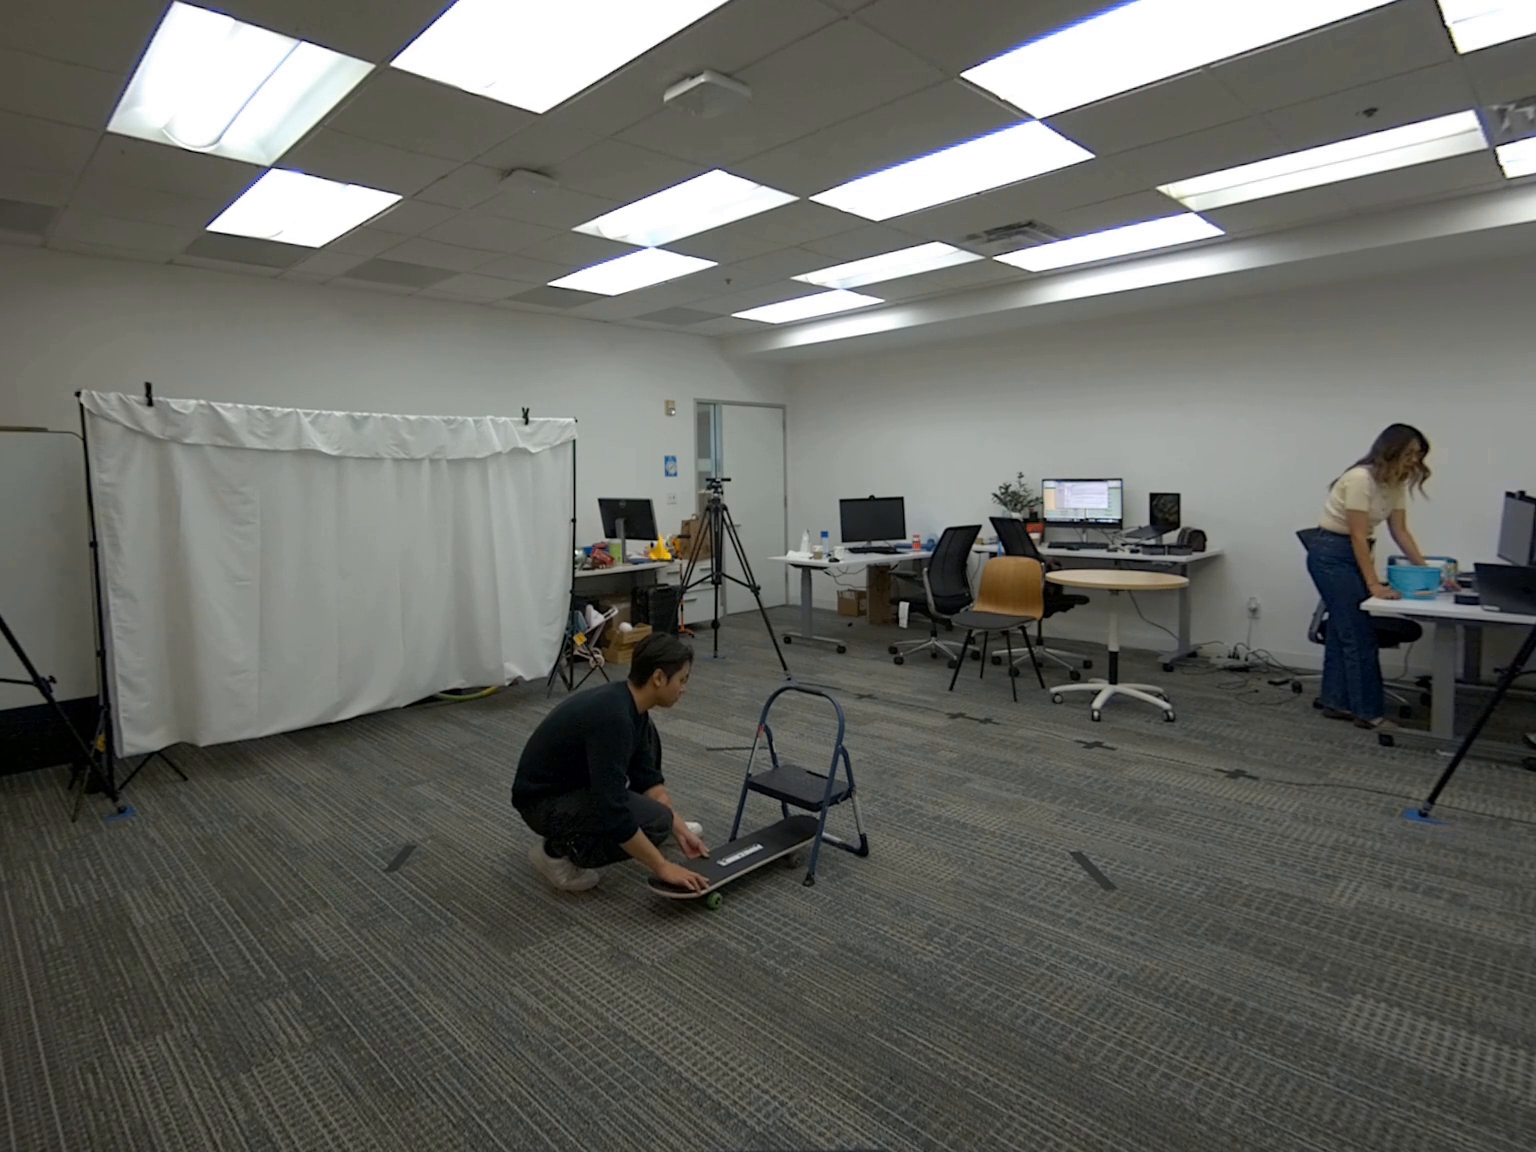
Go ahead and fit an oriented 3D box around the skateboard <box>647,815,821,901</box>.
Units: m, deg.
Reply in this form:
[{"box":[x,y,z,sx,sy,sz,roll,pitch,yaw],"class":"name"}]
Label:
[{"box":[-0.092,0.993,2.982,0.199,0.110,0.766,3,9,44],"class":"skateboard"}]
